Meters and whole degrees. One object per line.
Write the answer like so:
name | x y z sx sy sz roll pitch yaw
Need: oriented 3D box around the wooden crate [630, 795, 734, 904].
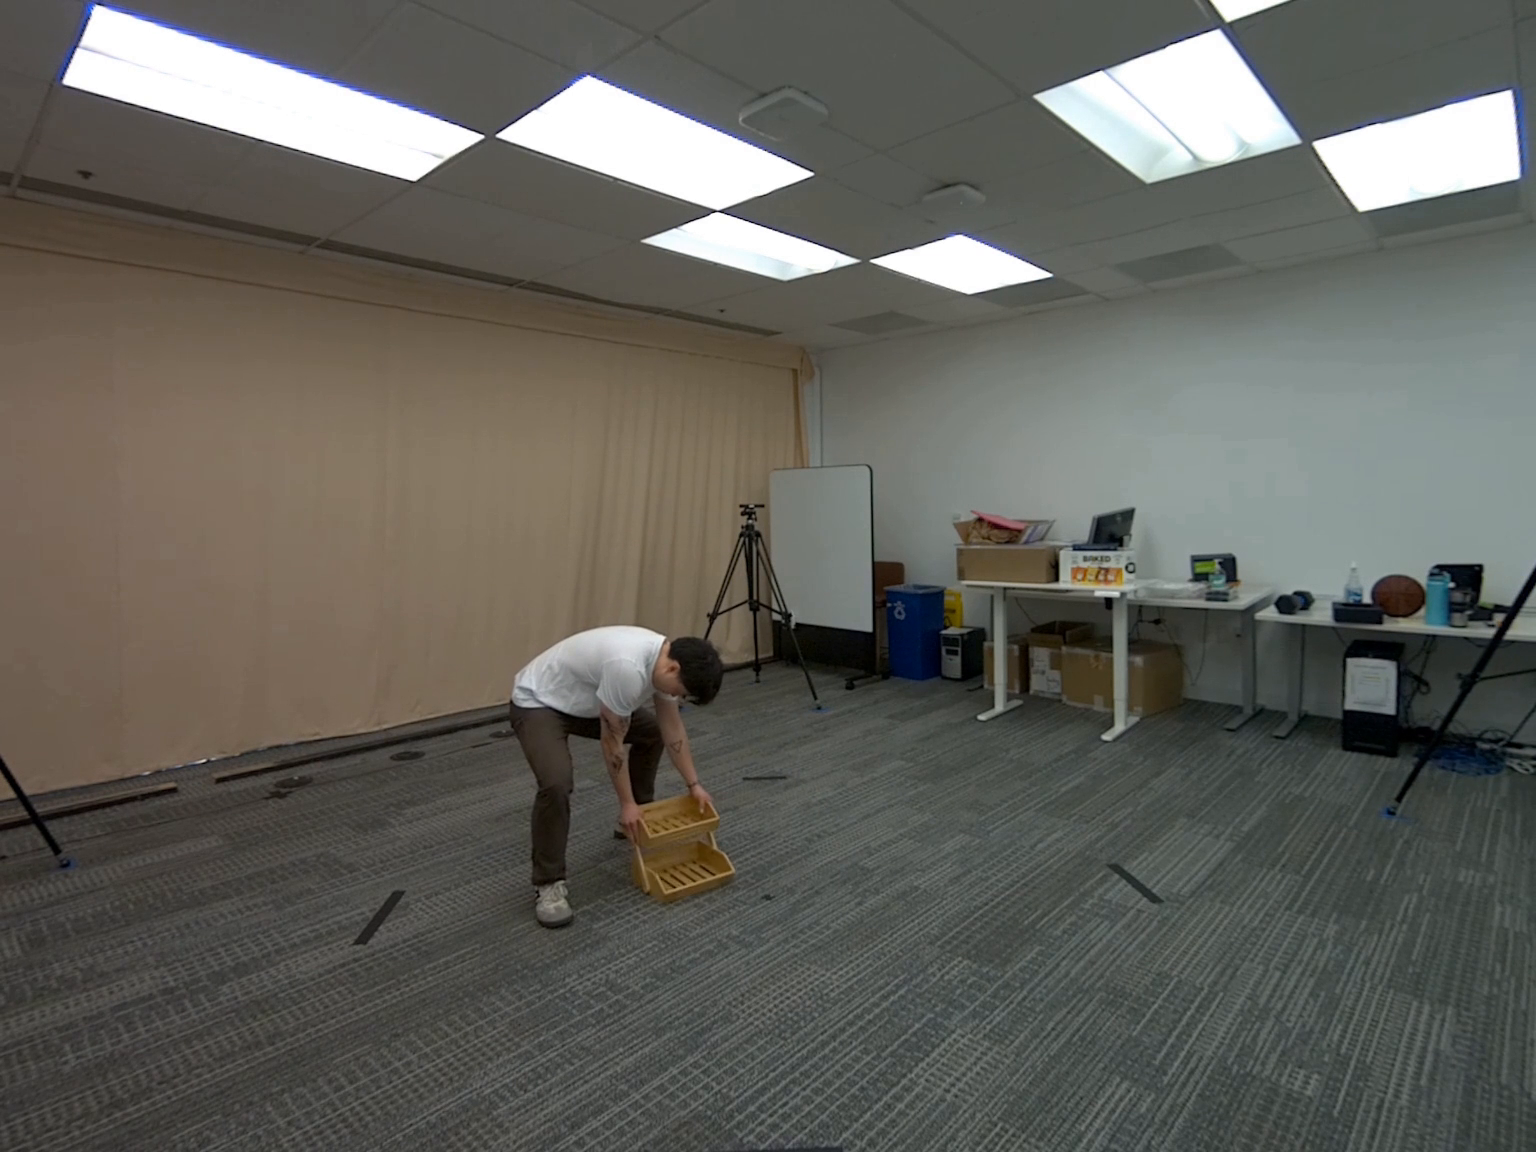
wooden crate | -0.330 1.003 3.127 0.315 0.273 0.311 -4 5 -36
